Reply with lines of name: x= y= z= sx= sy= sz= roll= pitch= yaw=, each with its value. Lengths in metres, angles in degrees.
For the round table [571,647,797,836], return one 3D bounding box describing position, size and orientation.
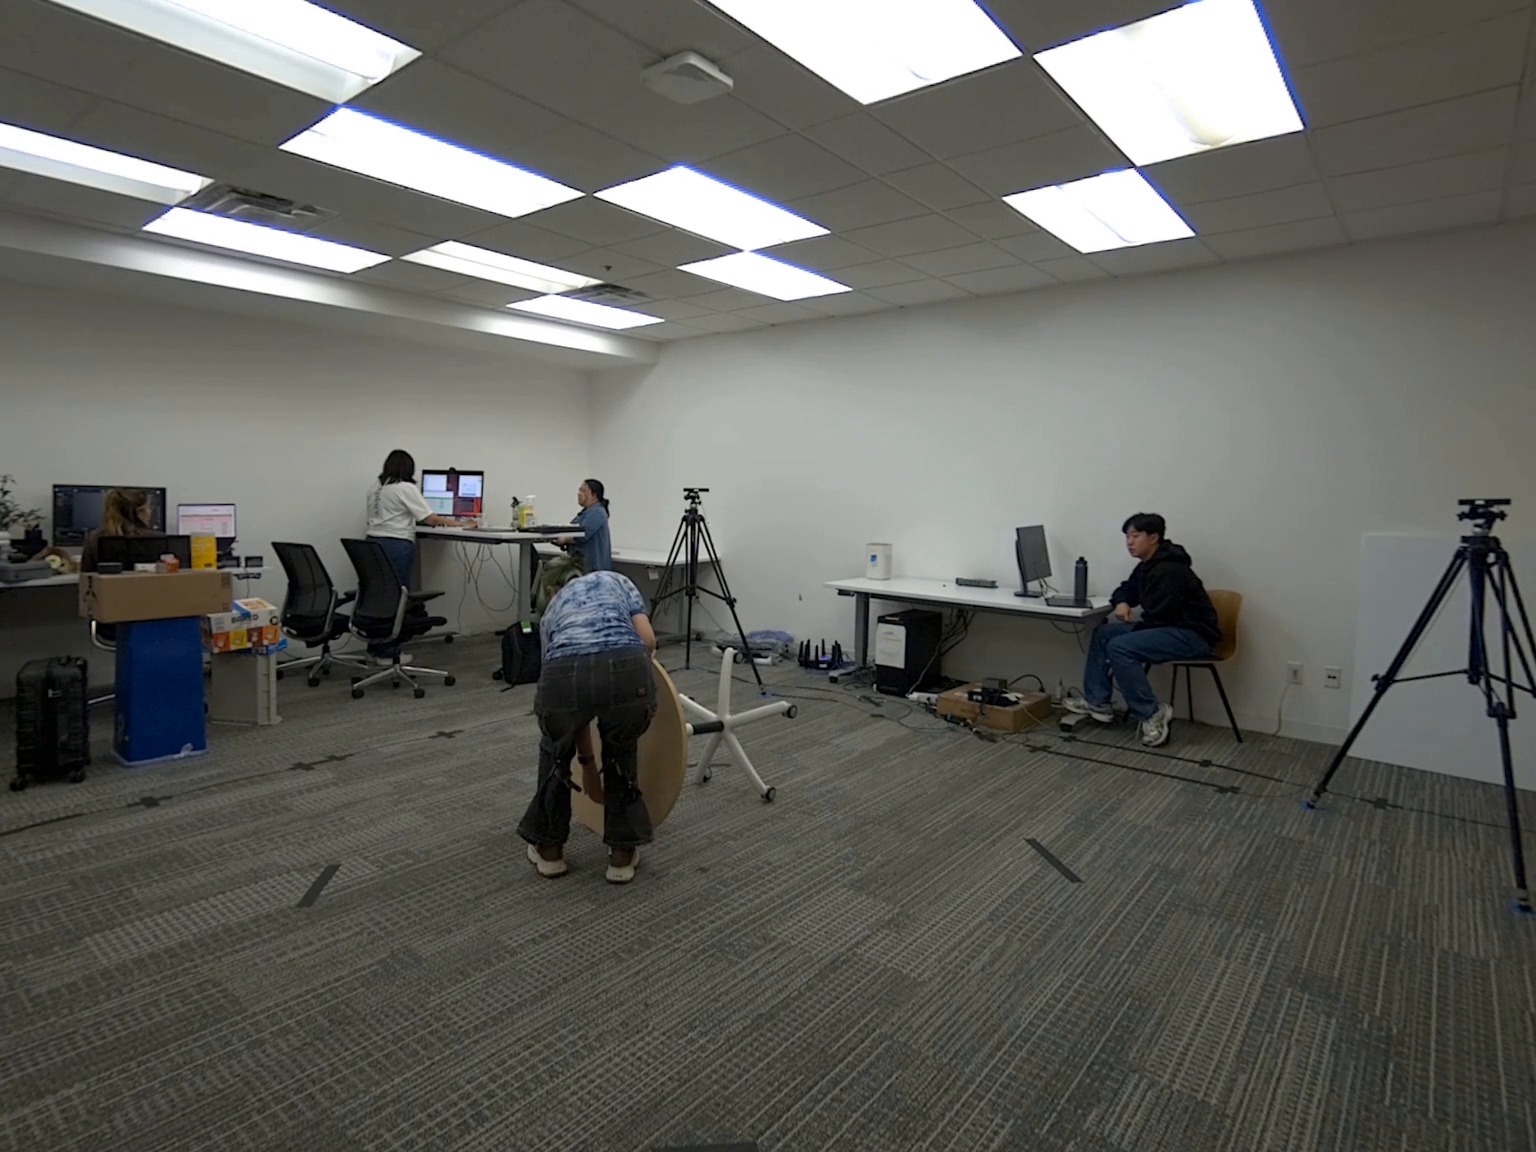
round table: x=-0.389 y=0.668 z=3.687 sx=0.789 sy=0.765 sz=0.767 roll=4 pitch=-1 yaw=40
